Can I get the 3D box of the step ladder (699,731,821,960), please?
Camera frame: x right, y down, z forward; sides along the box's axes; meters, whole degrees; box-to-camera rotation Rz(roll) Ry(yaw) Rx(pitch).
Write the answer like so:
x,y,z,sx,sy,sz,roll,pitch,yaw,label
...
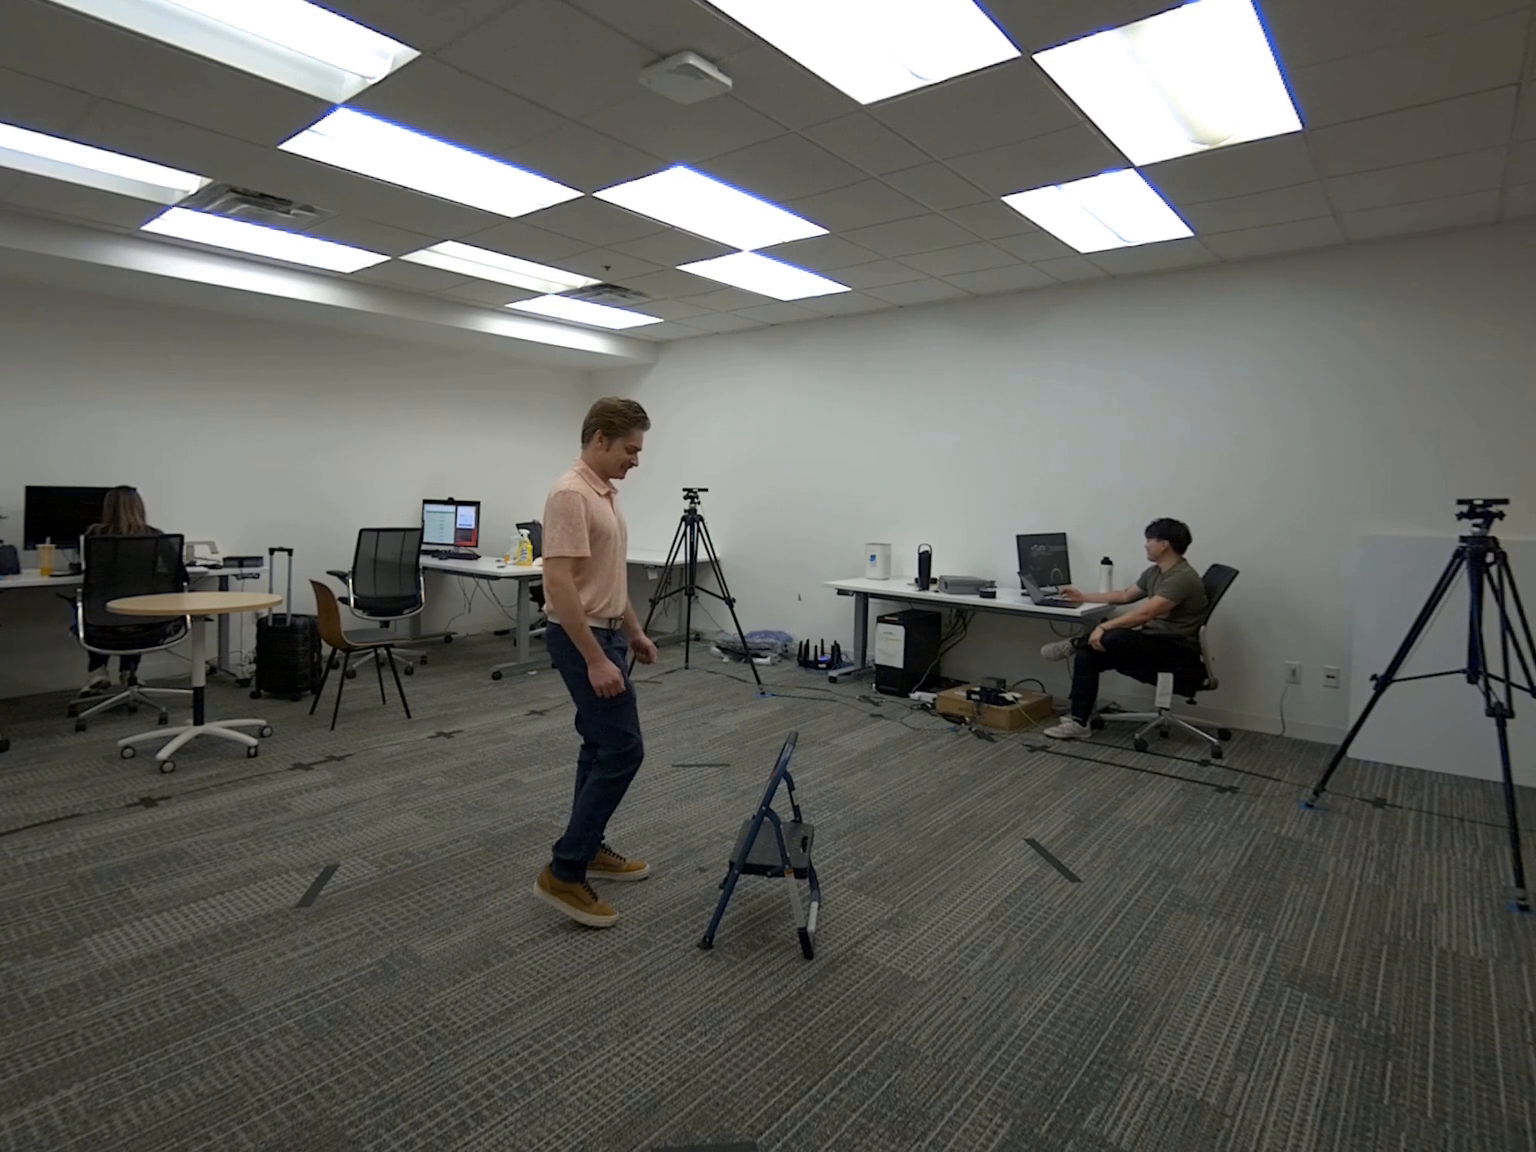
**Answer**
x,y,z,sx,sy,sz,roll,pitch,yaw,label
-0.010,0.809,2.730,0.353,0.604,0.428,2,4,8,step ladder
